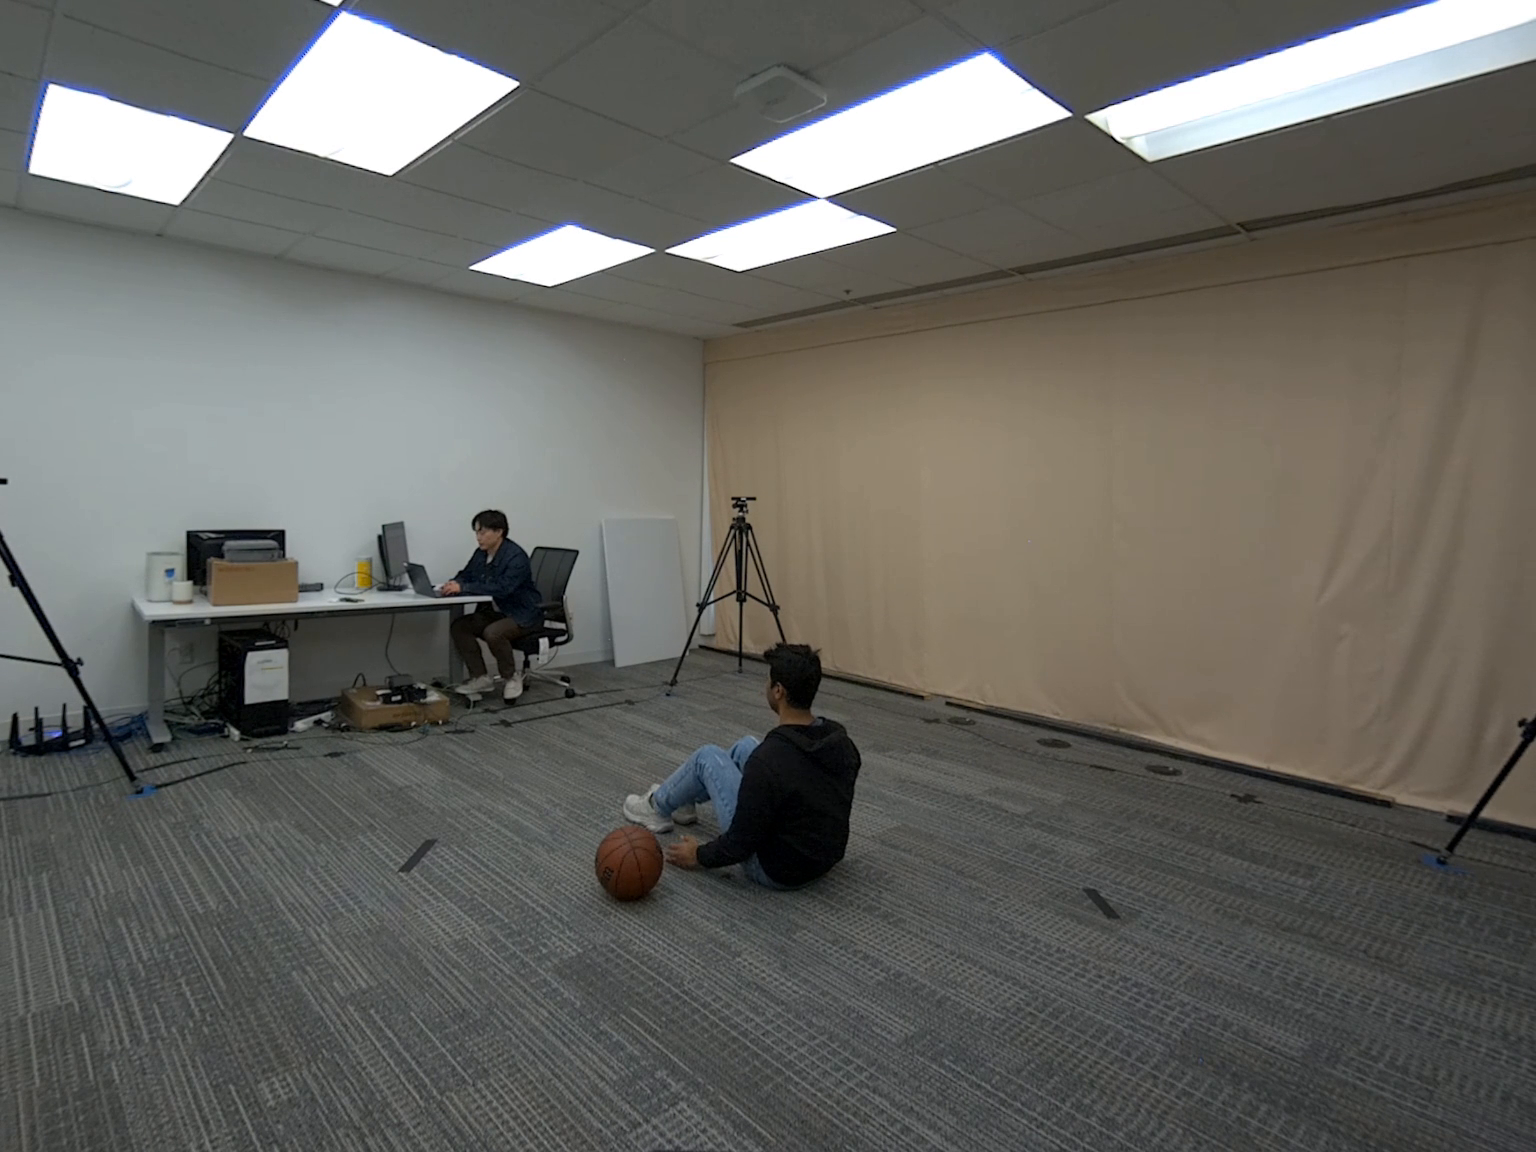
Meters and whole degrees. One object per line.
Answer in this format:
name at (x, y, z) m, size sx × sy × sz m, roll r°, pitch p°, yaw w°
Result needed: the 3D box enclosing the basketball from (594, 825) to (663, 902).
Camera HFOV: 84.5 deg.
basketball at (-0.490, 0.993, 2.927) m, size 0.236 × 0.235 × 0.237 m, roll 1°, pitch 4°, yaw -1°
